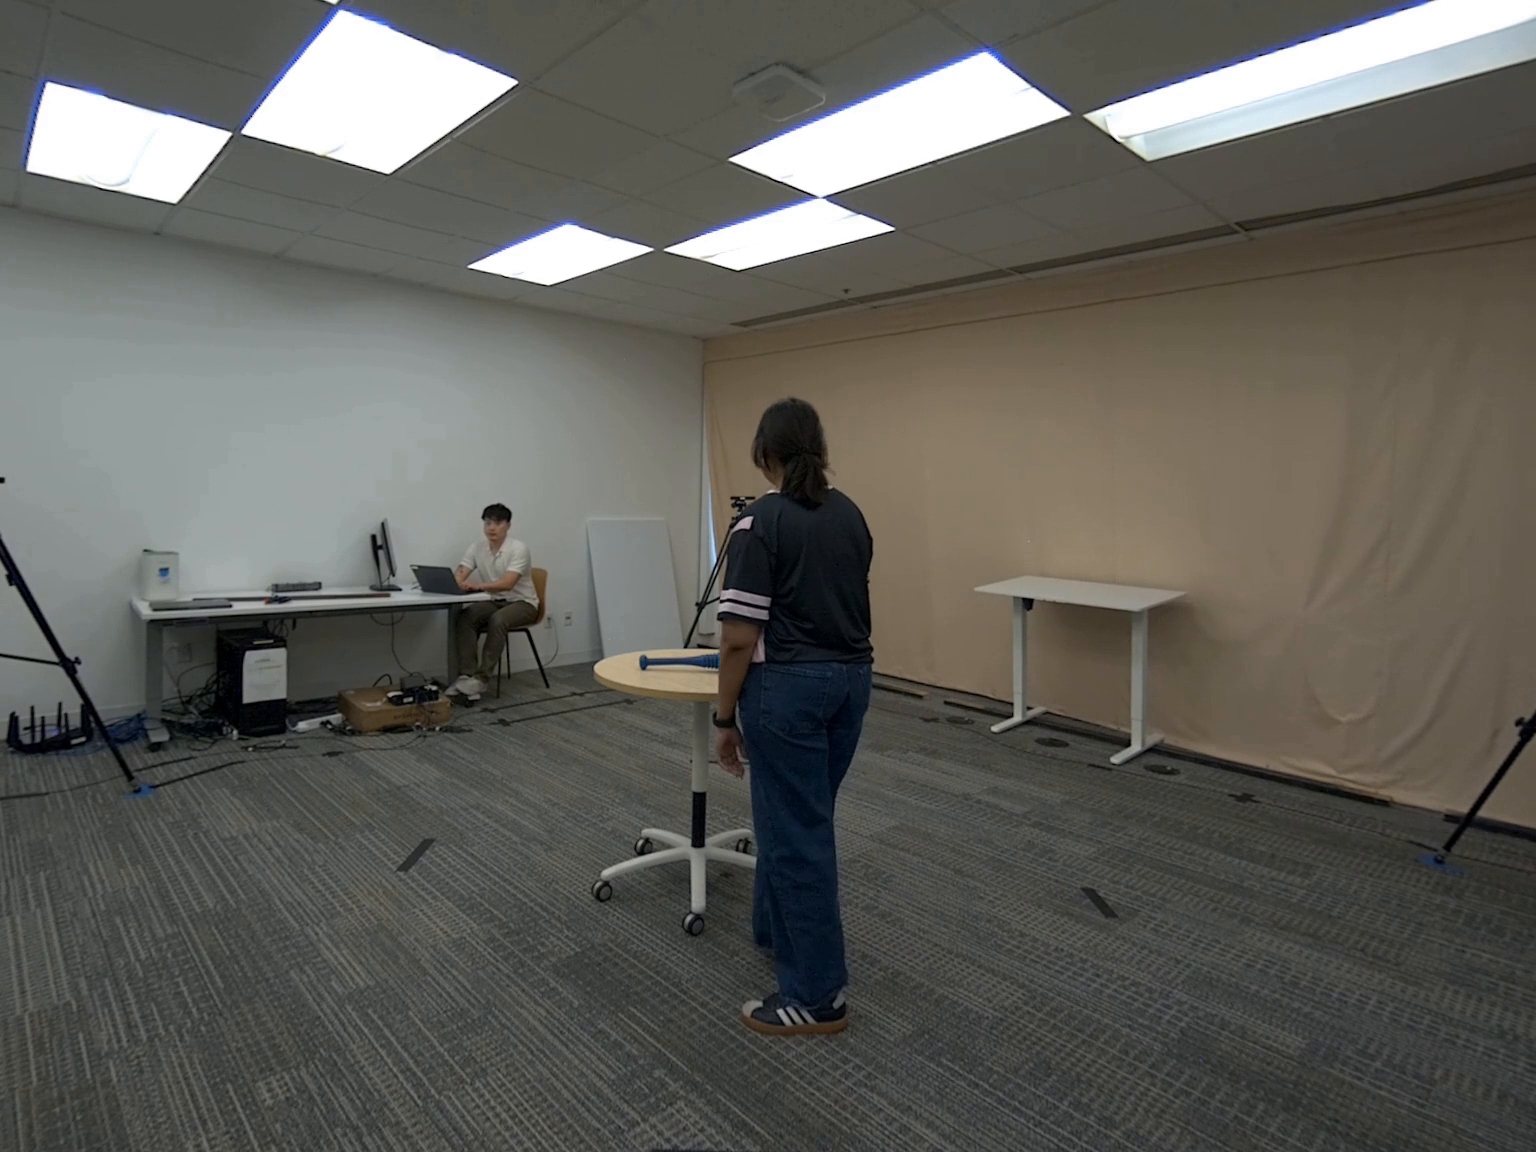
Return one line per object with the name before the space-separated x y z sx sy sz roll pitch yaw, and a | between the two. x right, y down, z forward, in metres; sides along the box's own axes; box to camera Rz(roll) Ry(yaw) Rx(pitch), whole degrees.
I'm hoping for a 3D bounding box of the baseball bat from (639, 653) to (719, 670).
baseball bat | -0.184 0.299 2.932 0.541 0.089 0.089 0 4 -3
